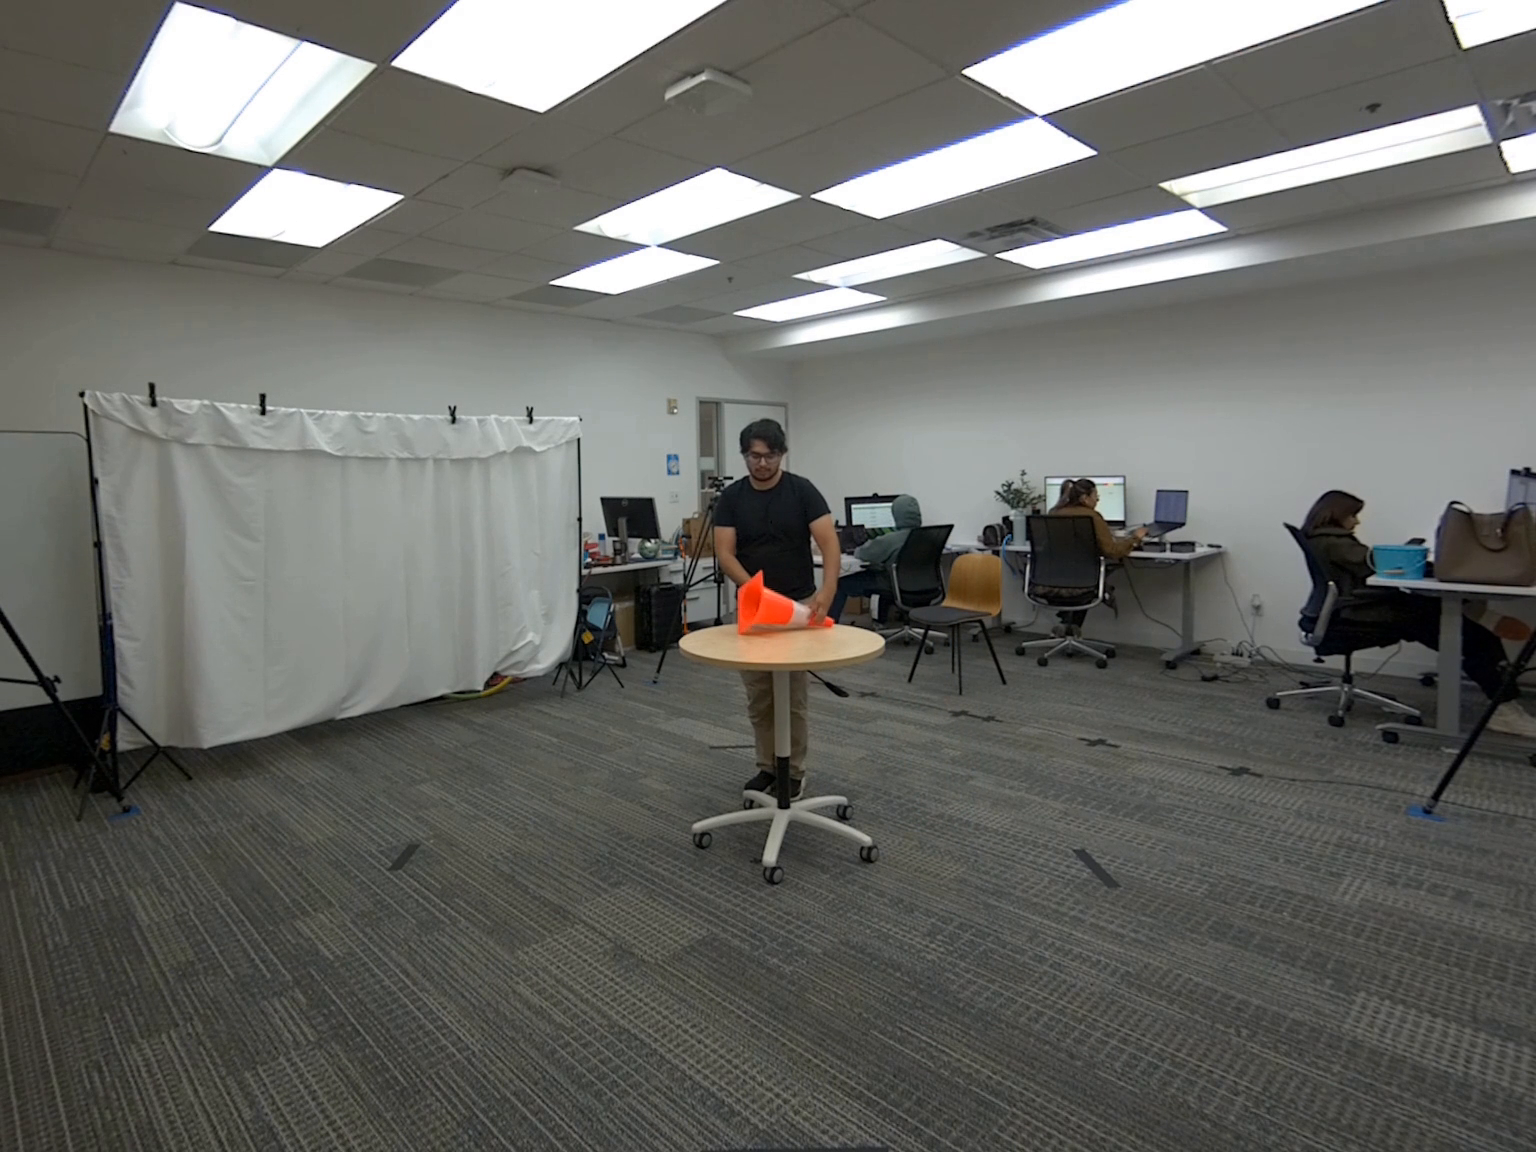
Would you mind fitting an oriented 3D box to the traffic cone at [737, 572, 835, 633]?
[{"bbox_3d":[0.098,0.148,3.373,0.375,0.208,0.205,13,-33,-22],"label":"traffic cone"}]
